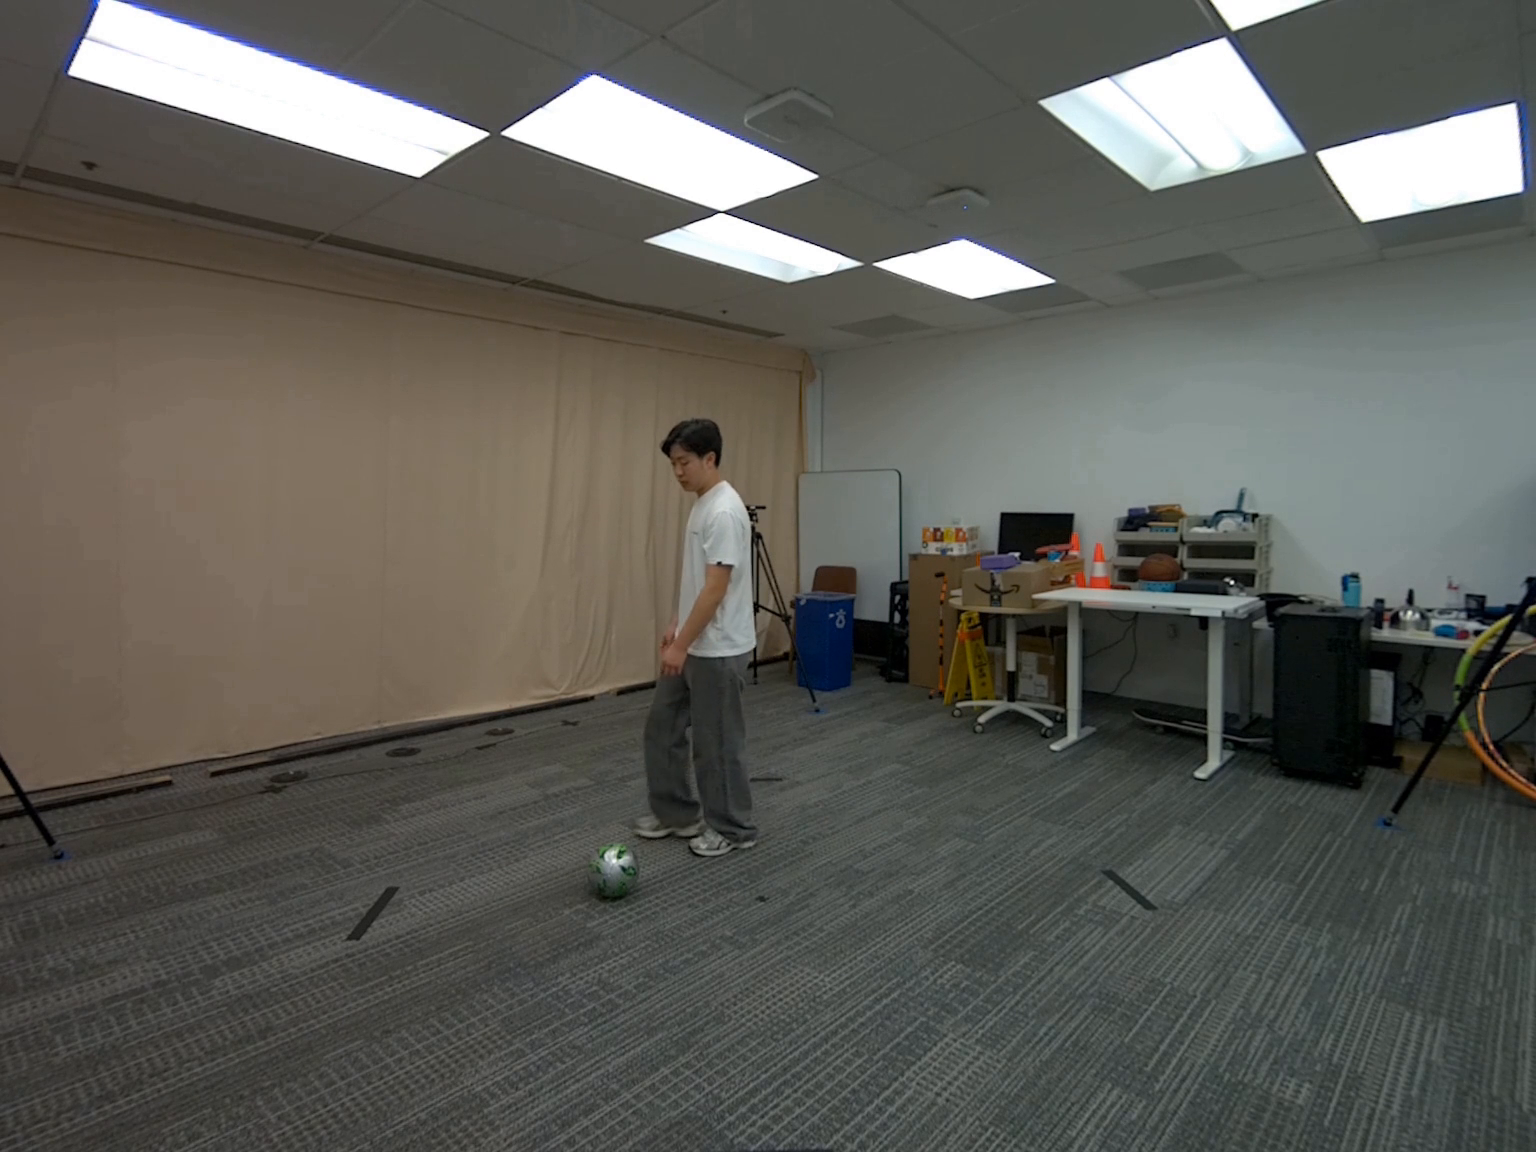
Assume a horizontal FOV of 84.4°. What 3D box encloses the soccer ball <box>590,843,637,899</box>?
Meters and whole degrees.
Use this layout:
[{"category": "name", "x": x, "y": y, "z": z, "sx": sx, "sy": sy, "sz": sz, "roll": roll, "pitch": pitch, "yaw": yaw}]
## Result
[{"category": "soccer ball", "x": -0.550, "y": 1.051, "z": 3.015, "sx": 0.187, "sy": 0.187, "sz": 0.188, "roll": 0, "pitch": 4, "yaw": -2}]
